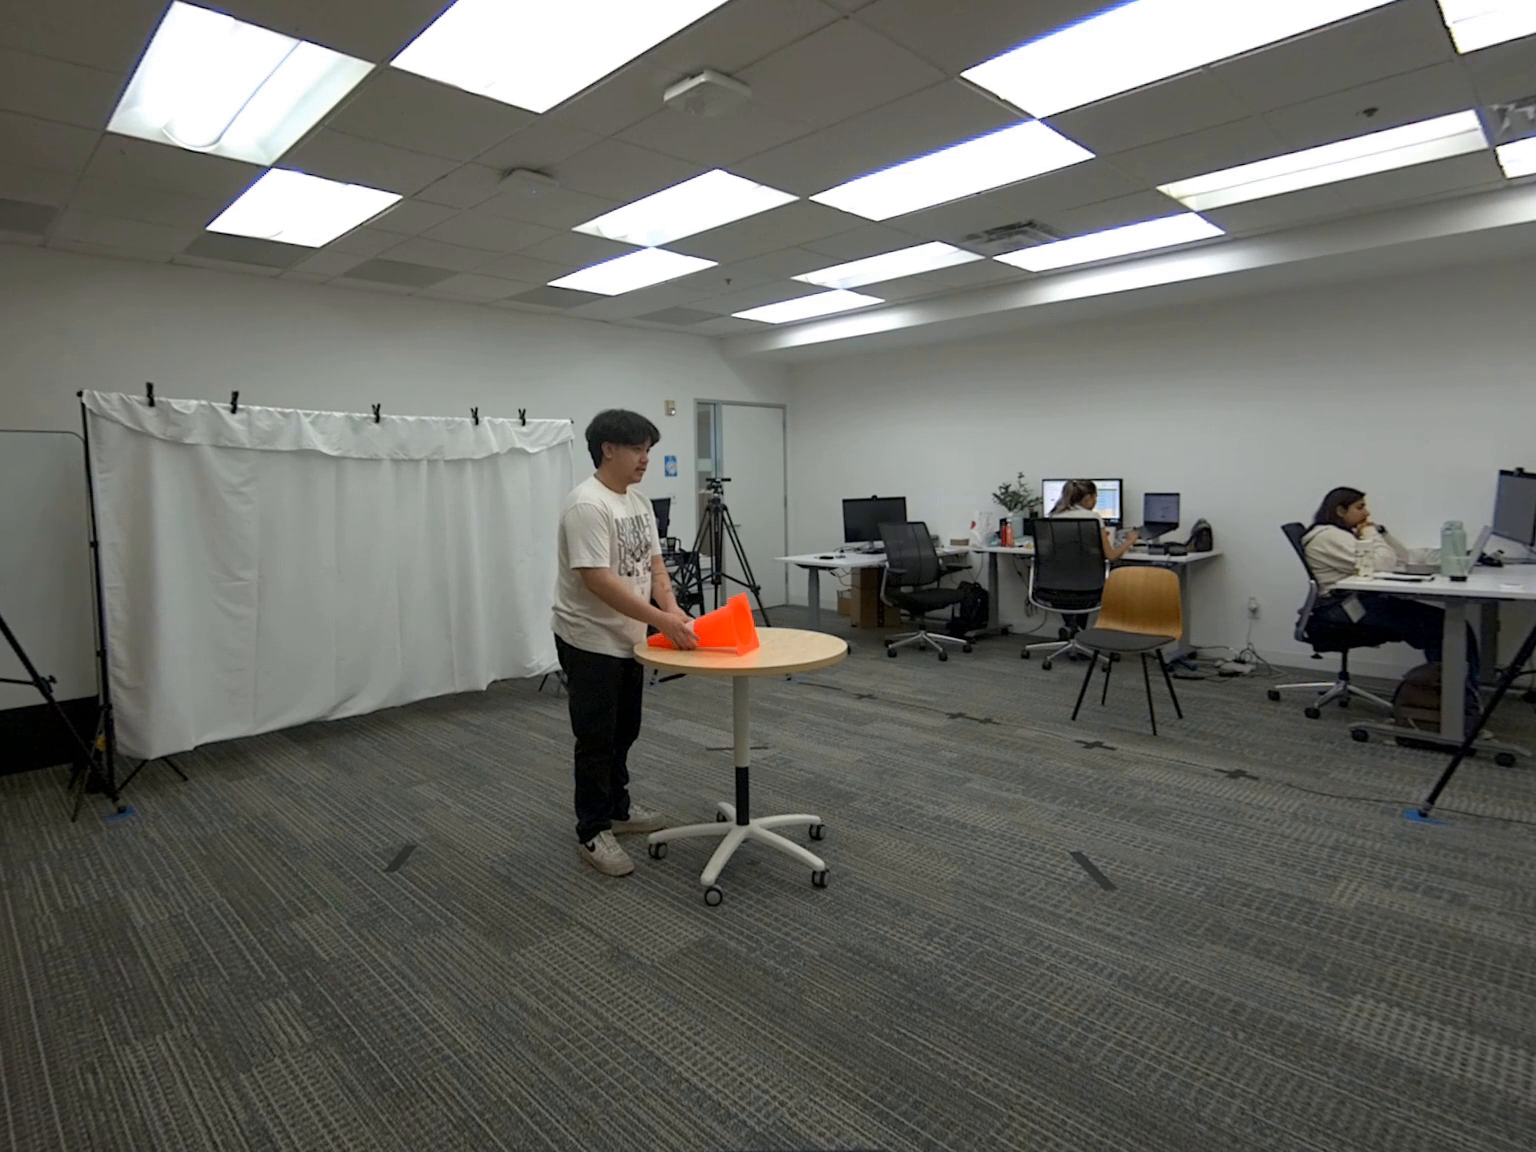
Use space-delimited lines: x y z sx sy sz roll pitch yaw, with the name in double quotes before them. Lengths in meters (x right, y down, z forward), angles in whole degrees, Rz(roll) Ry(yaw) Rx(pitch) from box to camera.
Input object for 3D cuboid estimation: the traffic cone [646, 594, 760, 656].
"traffic cone" -0.259 0.200 3.032 0.390 0.203 0.202 -10 4 20
